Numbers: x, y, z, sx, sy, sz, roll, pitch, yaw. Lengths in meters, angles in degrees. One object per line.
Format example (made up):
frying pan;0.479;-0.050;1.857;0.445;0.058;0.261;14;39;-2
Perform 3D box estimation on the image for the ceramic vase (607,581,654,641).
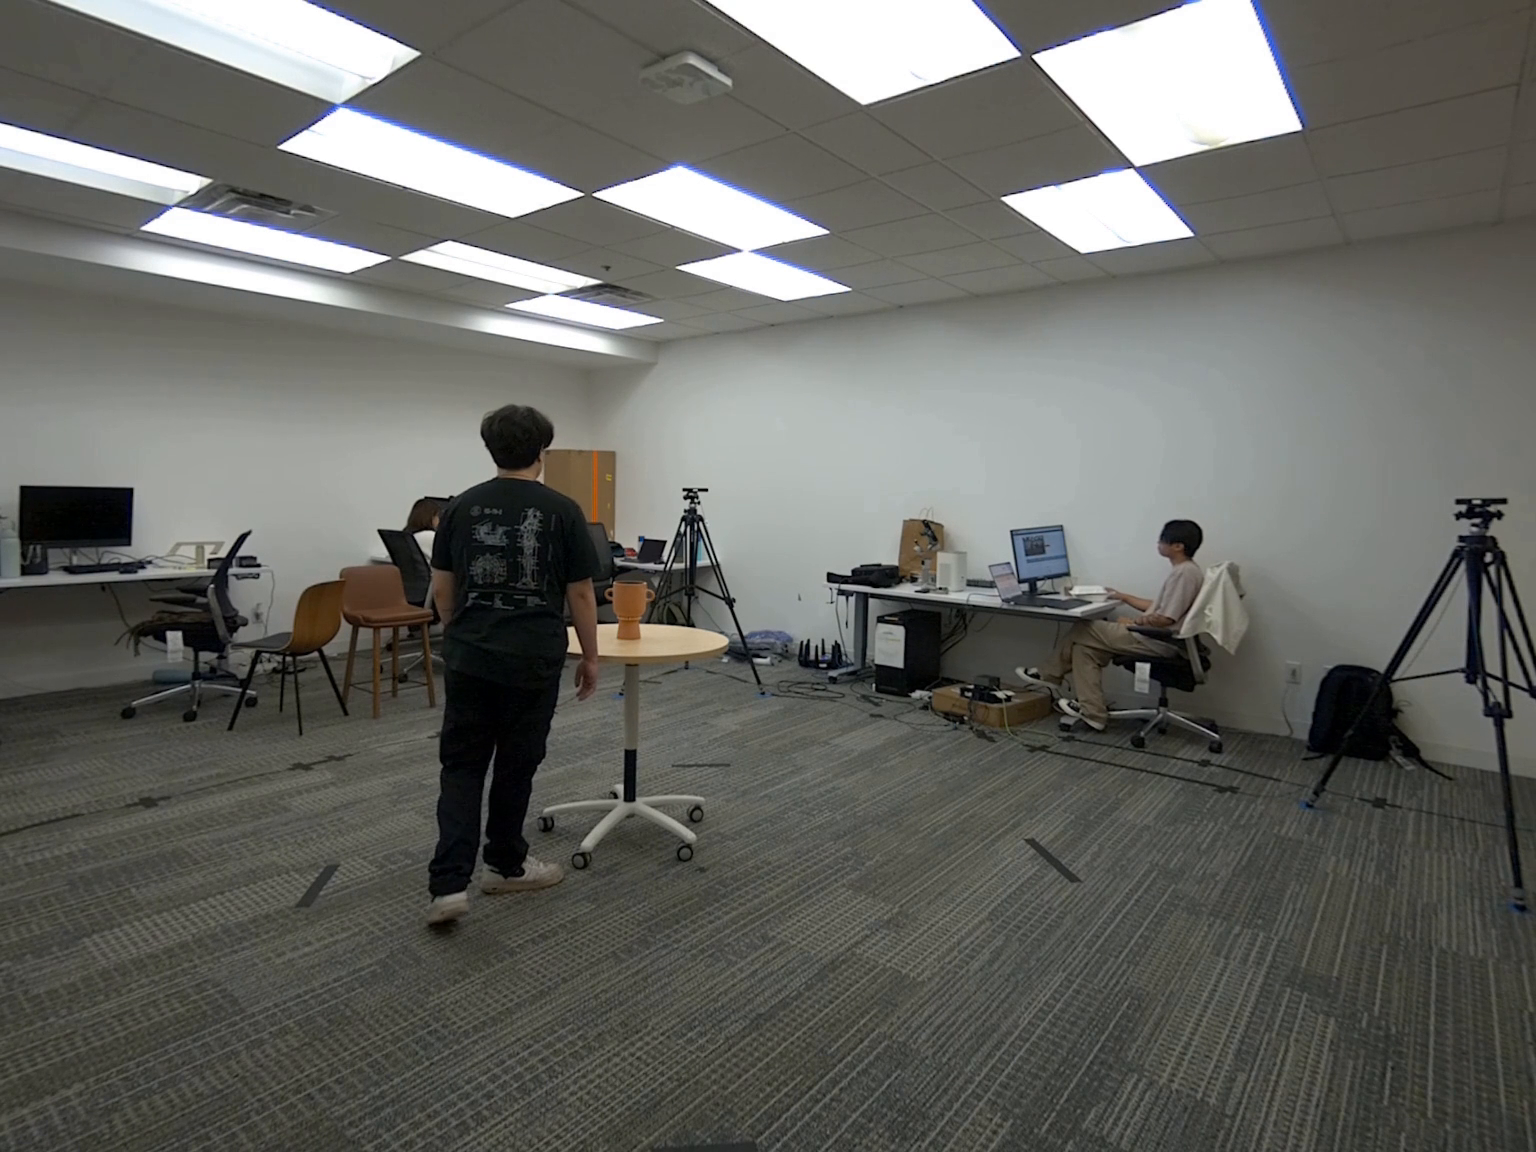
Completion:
ceramic vase;-0.565;0.134;3.384;0.164;0.219;0.130;5;5;38
